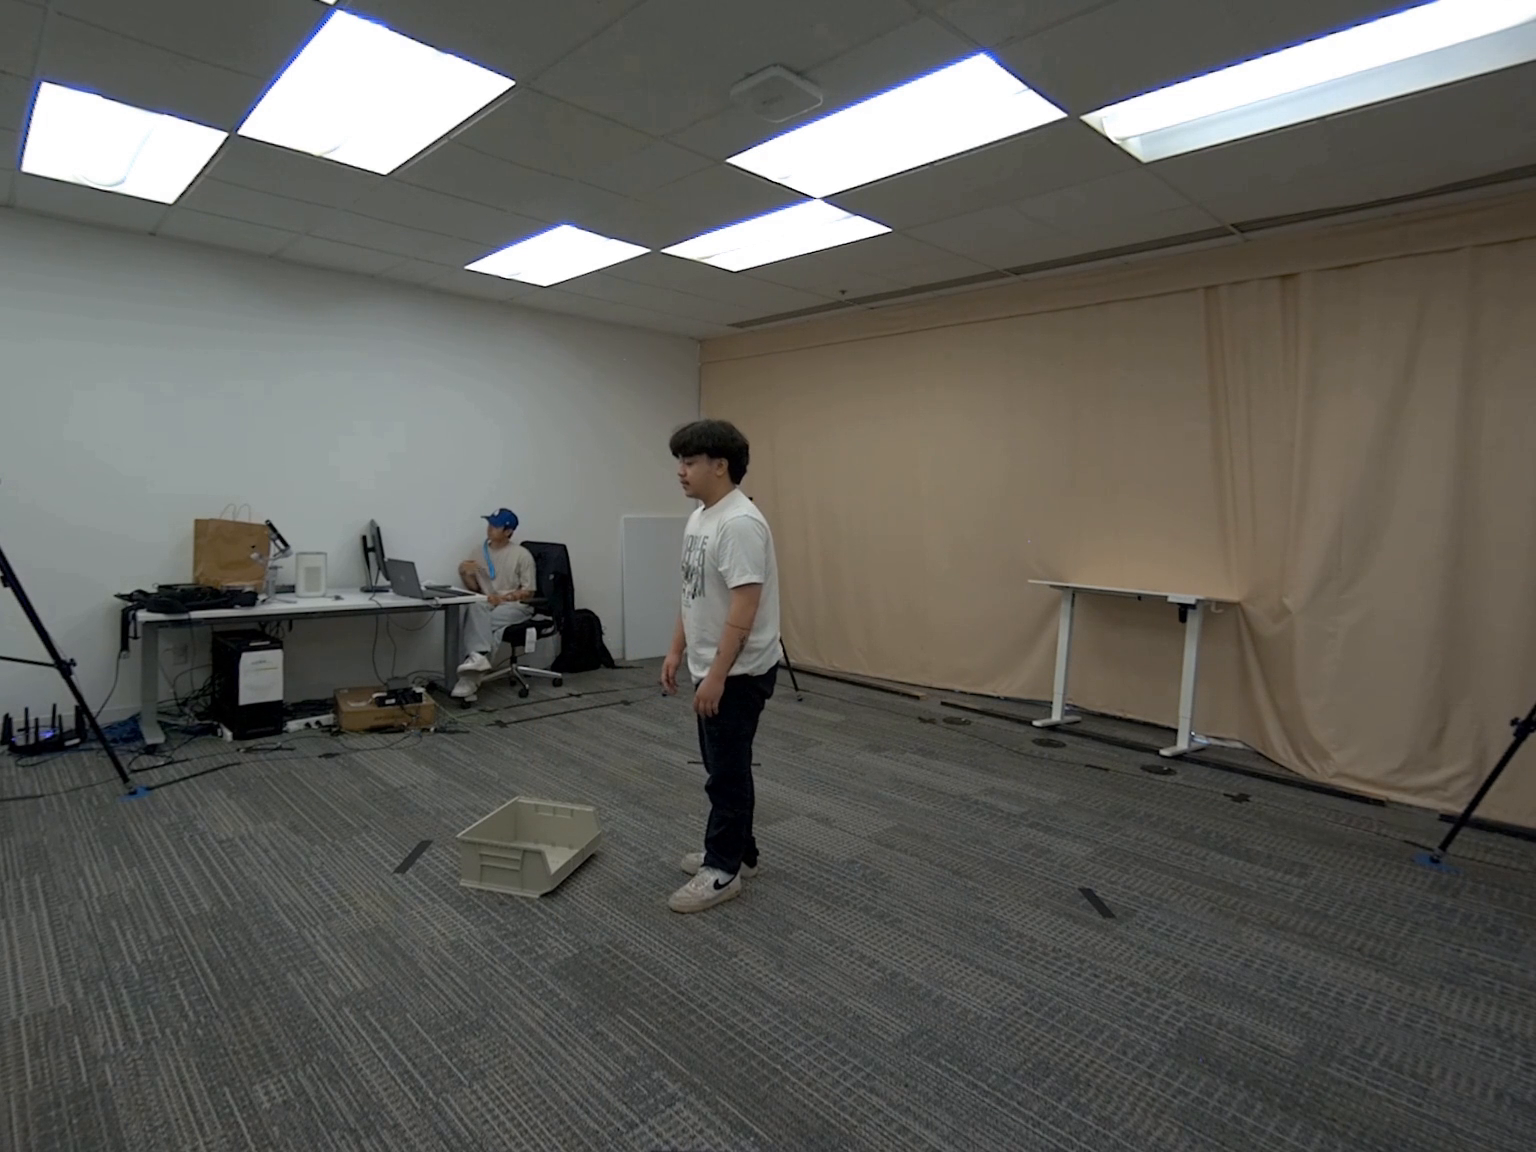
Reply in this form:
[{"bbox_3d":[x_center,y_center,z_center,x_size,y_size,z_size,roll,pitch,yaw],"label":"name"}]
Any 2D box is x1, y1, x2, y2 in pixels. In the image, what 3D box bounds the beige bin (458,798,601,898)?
[{"bbox_3d":[-0.880,0.999,3.129,0.382,0.188,0.419,2,6,14],"label":"beige bin"}]
